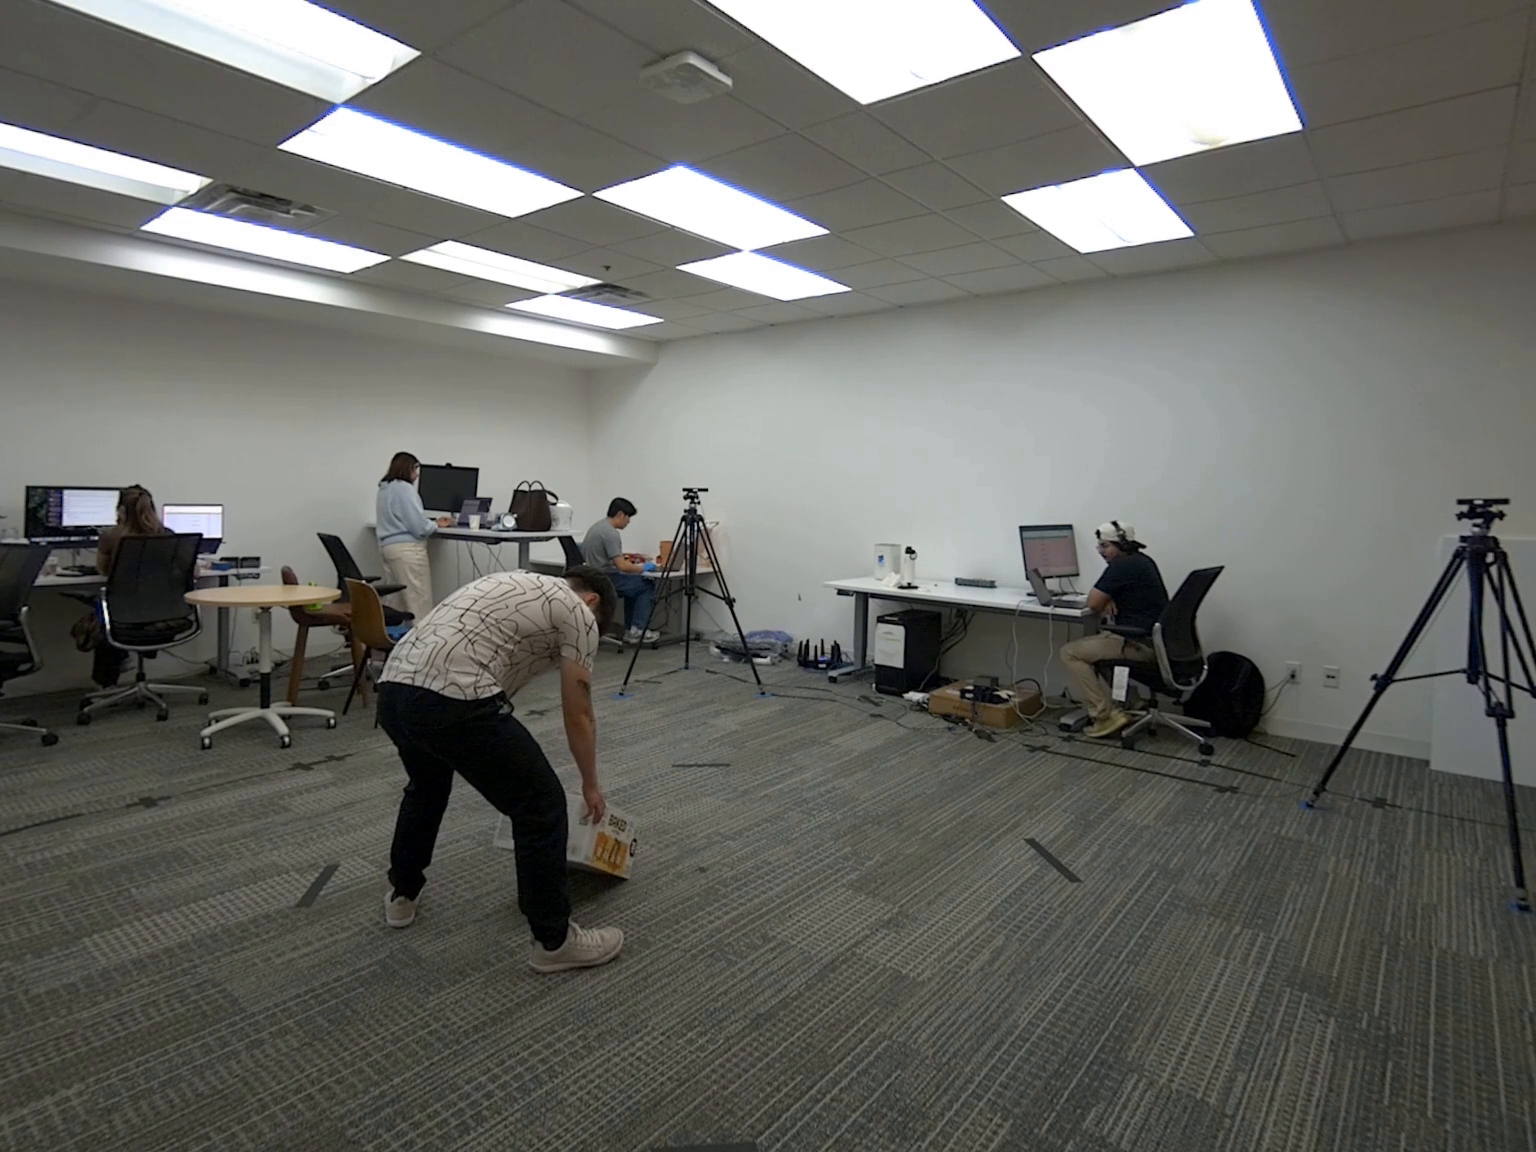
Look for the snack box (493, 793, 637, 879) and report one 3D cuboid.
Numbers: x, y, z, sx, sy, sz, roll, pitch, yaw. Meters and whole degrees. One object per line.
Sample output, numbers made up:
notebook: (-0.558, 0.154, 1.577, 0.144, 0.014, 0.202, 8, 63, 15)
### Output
snack box: (-0.695, 0.891, 2.948, 0.347, 0.209, 0.390, 3, -25, 18)
